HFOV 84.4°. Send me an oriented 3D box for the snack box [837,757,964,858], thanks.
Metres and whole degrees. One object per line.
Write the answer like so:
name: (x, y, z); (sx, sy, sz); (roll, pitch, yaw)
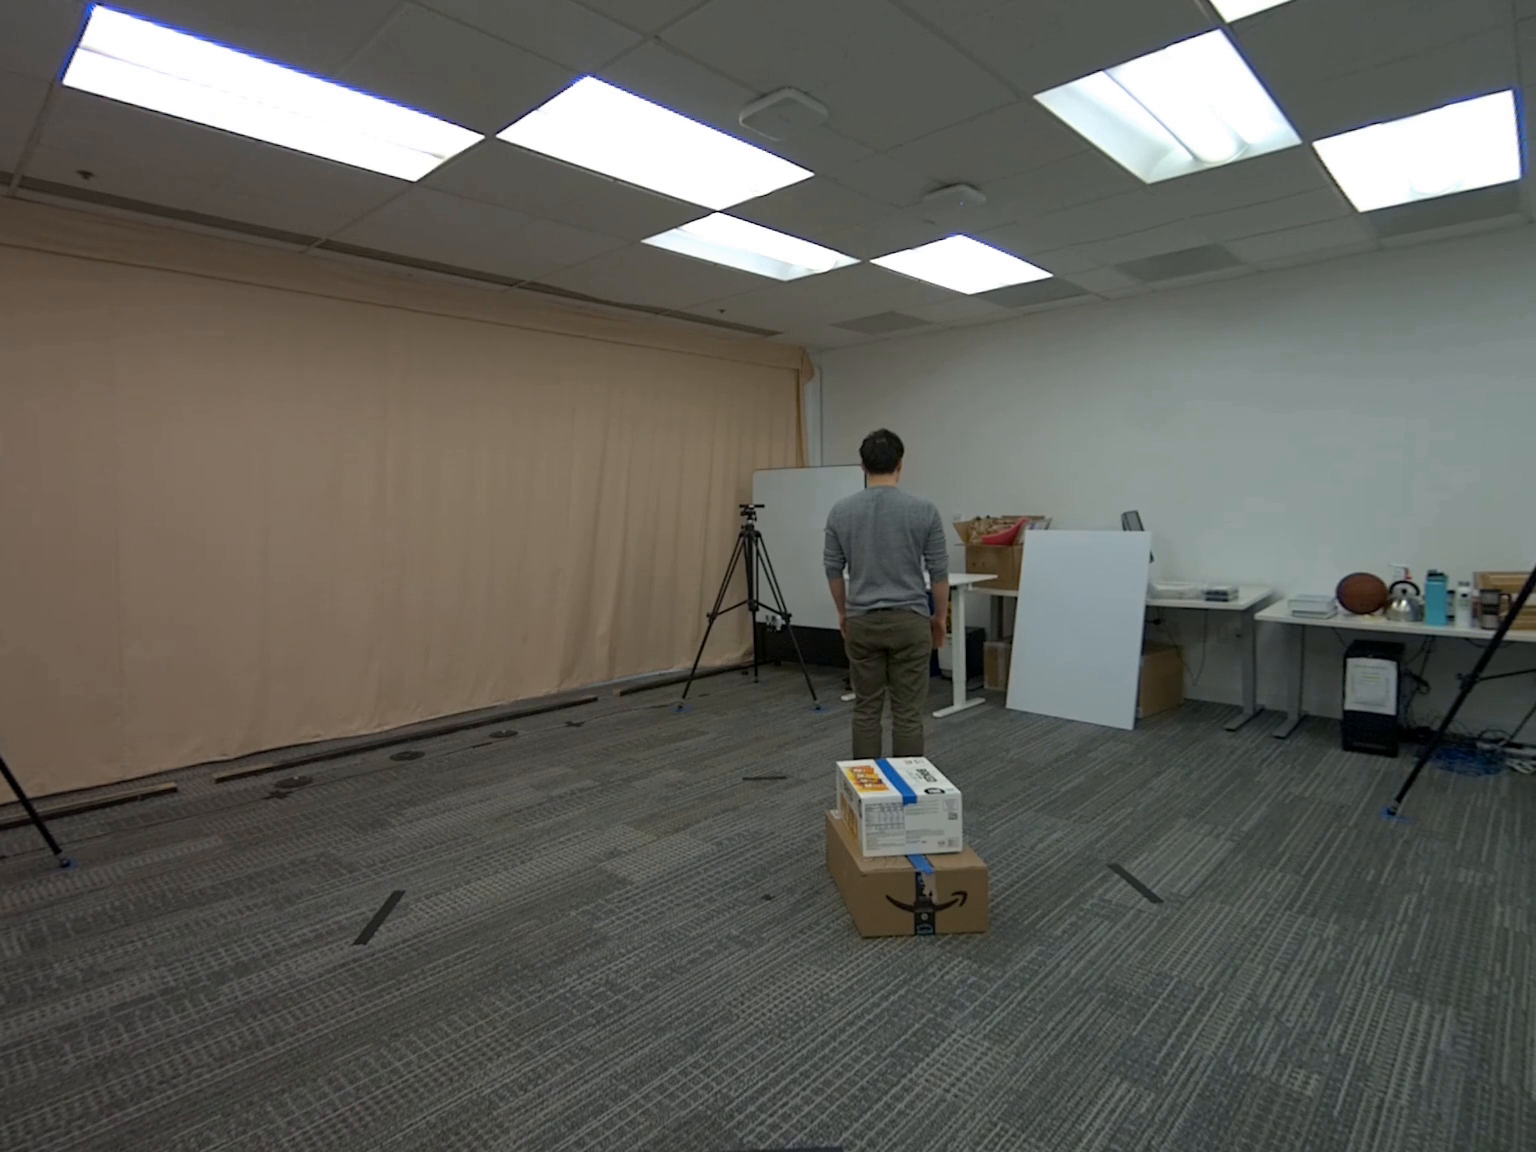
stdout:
snack box: (0.456, 0.815, 2.998); (0.339, 0.205, 0.408); (-3, 5, -6)
